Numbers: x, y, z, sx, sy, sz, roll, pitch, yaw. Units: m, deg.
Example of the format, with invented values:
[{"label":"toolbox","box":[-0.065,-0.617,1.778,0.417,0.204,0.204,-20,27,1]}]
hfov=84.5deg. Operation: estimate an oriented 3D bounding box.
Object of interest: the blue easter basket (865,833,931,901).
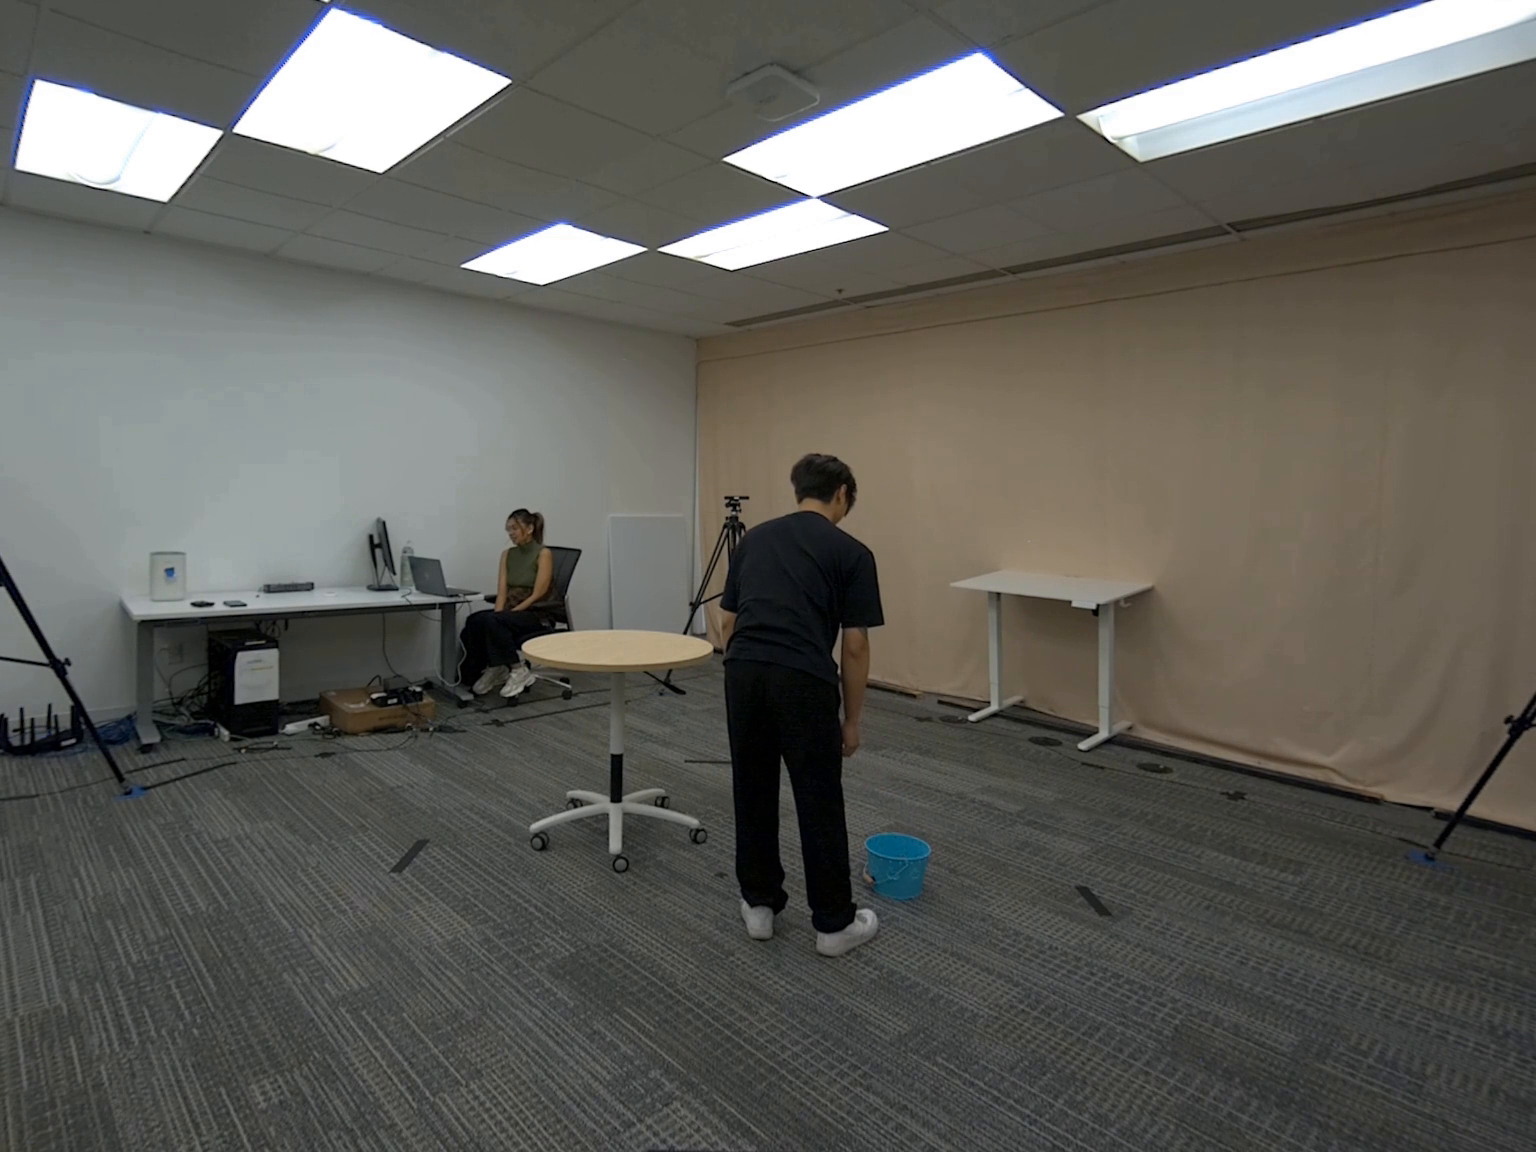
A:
[{"label":"blue easter basket","box":[0.454,1.044,3.037,0.243,0.155,0.244,1,5,-1]}]
